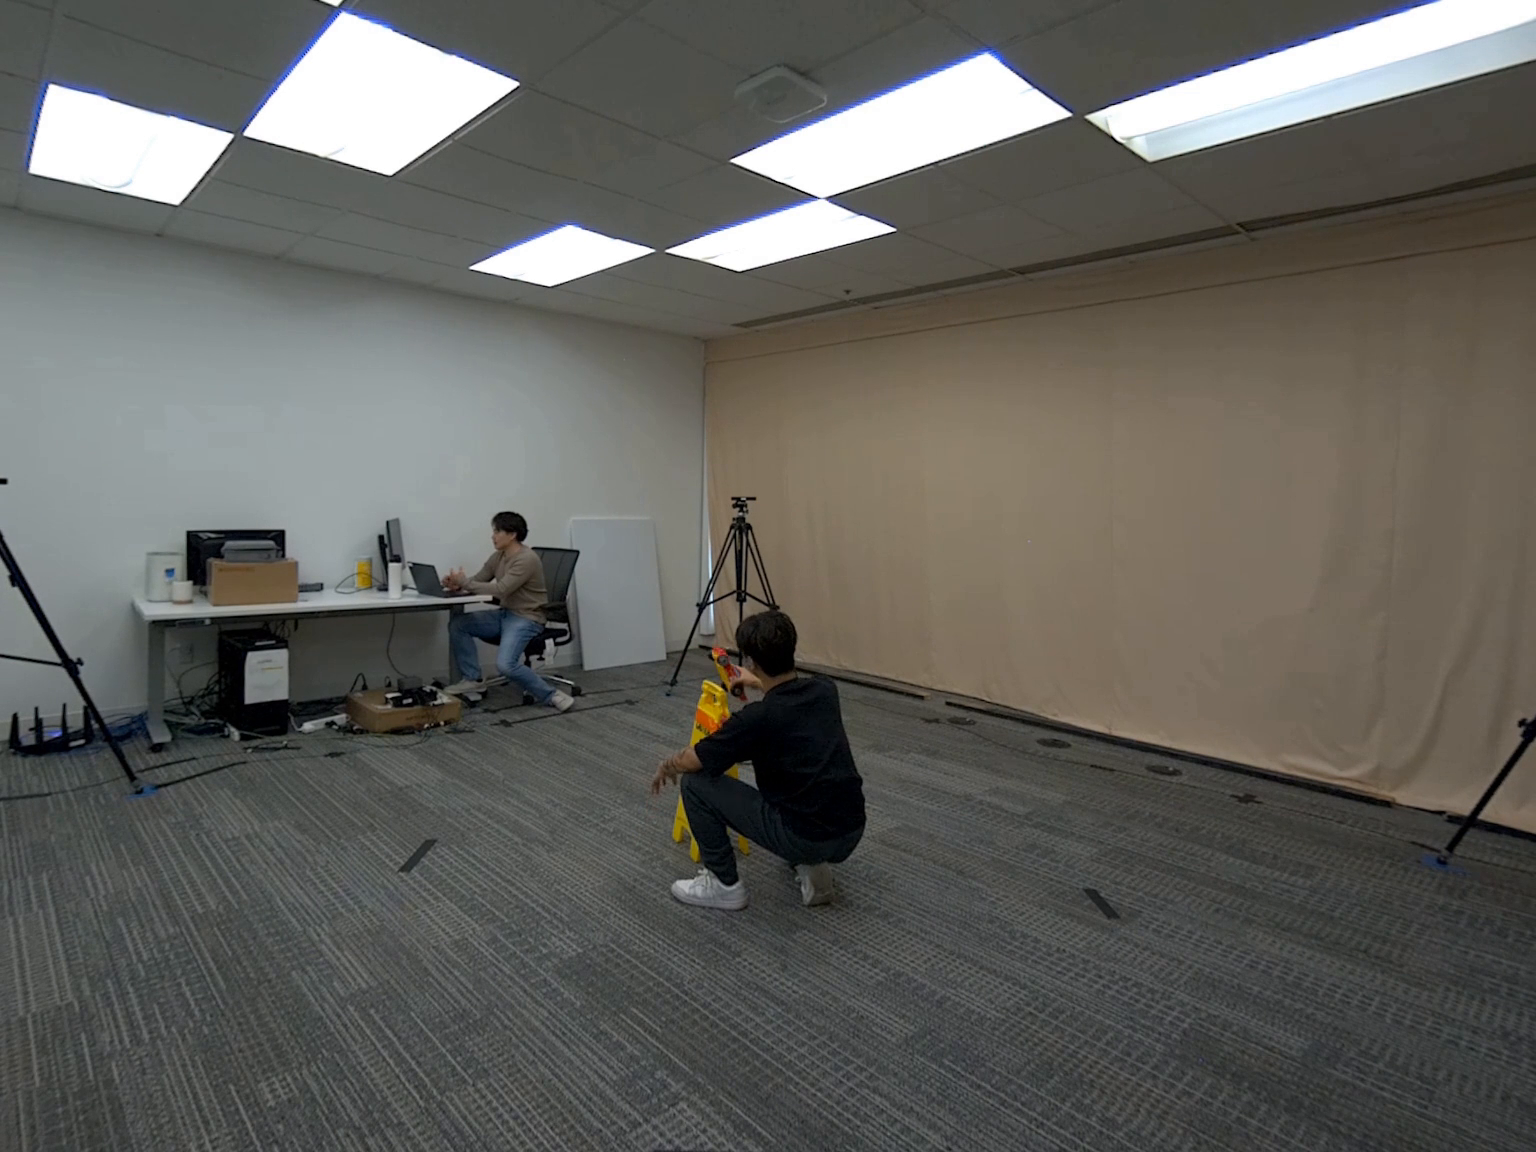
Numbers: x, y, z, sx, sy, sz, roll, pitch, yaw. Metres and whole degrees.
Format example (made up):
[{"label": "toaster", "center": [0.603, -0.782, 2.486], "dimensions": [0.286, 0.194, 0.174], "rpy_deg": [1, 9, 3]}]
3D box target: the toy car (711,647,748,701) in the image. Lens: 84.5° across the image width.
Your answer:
[{"label": "toy car", "center": [-0.171, 0.425, 3.405], "dimensions": [0.083, 0.250, 0.133], "rpy_deg": [-37, 18, -18]}]
